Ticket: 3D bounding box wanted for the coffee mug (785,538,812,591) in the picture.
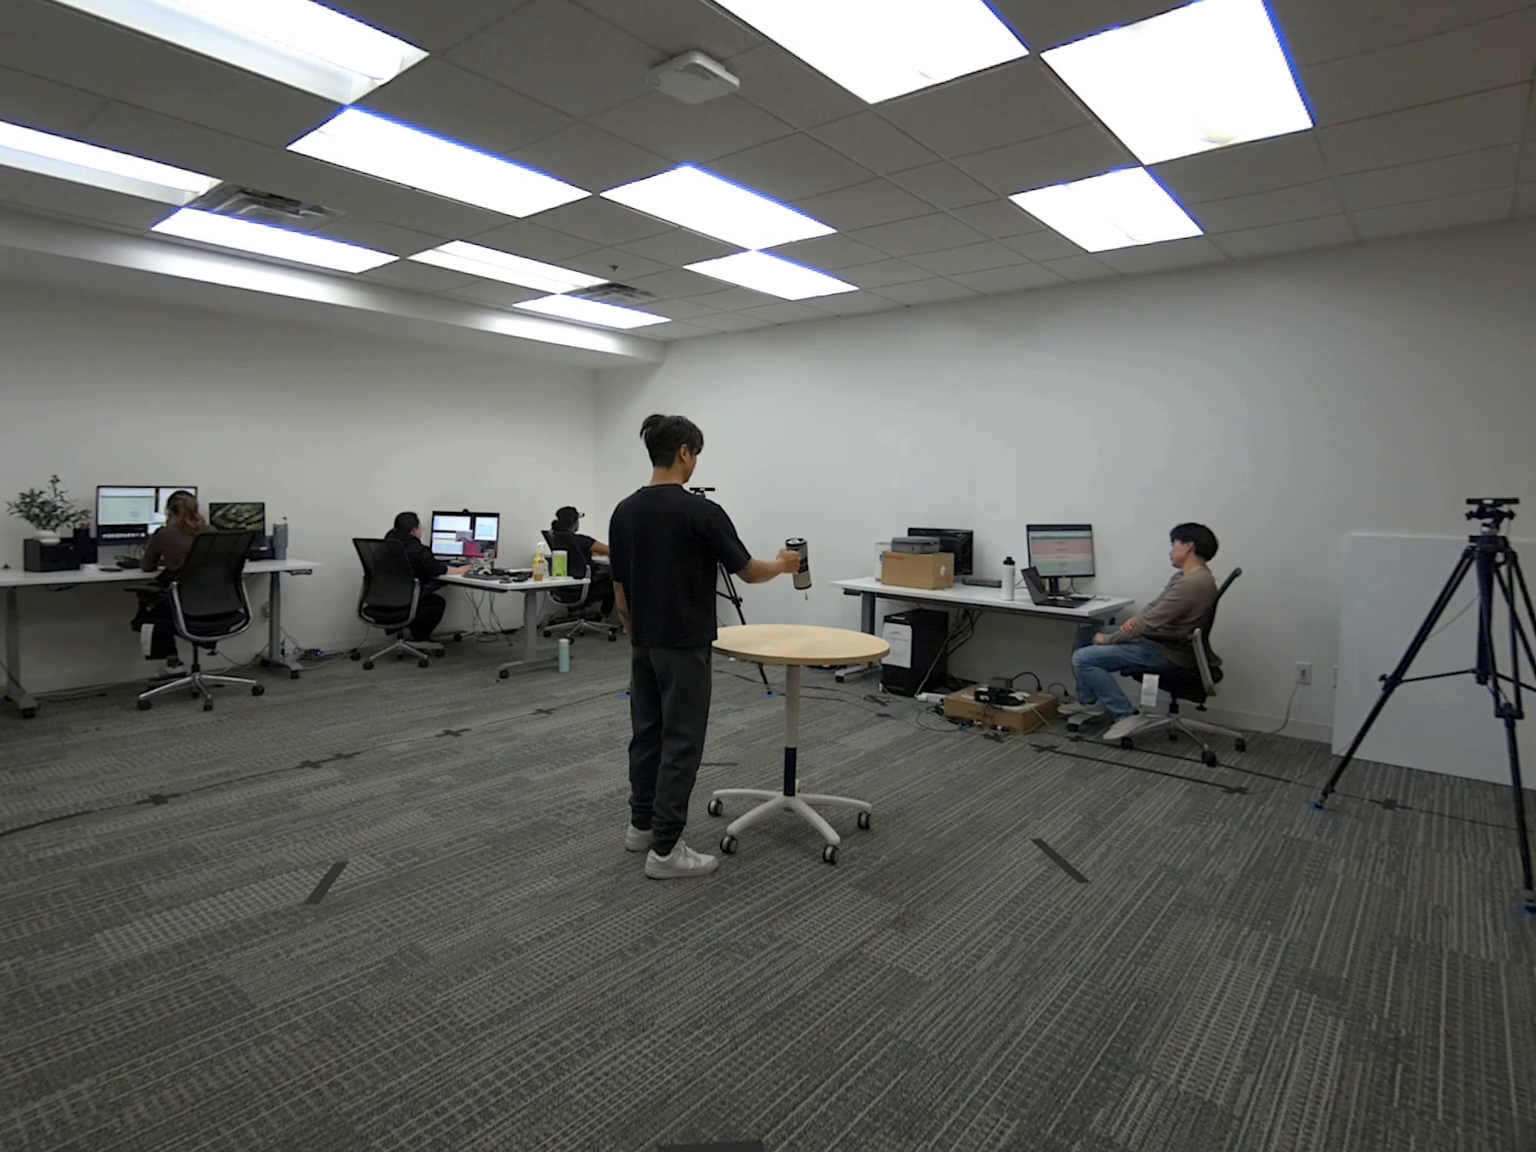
[{"bbox_3d":[0.100,-0.043,3.431,0.120,0.200,0.091,-18,17,-31],"label":"coffee mug"}]
